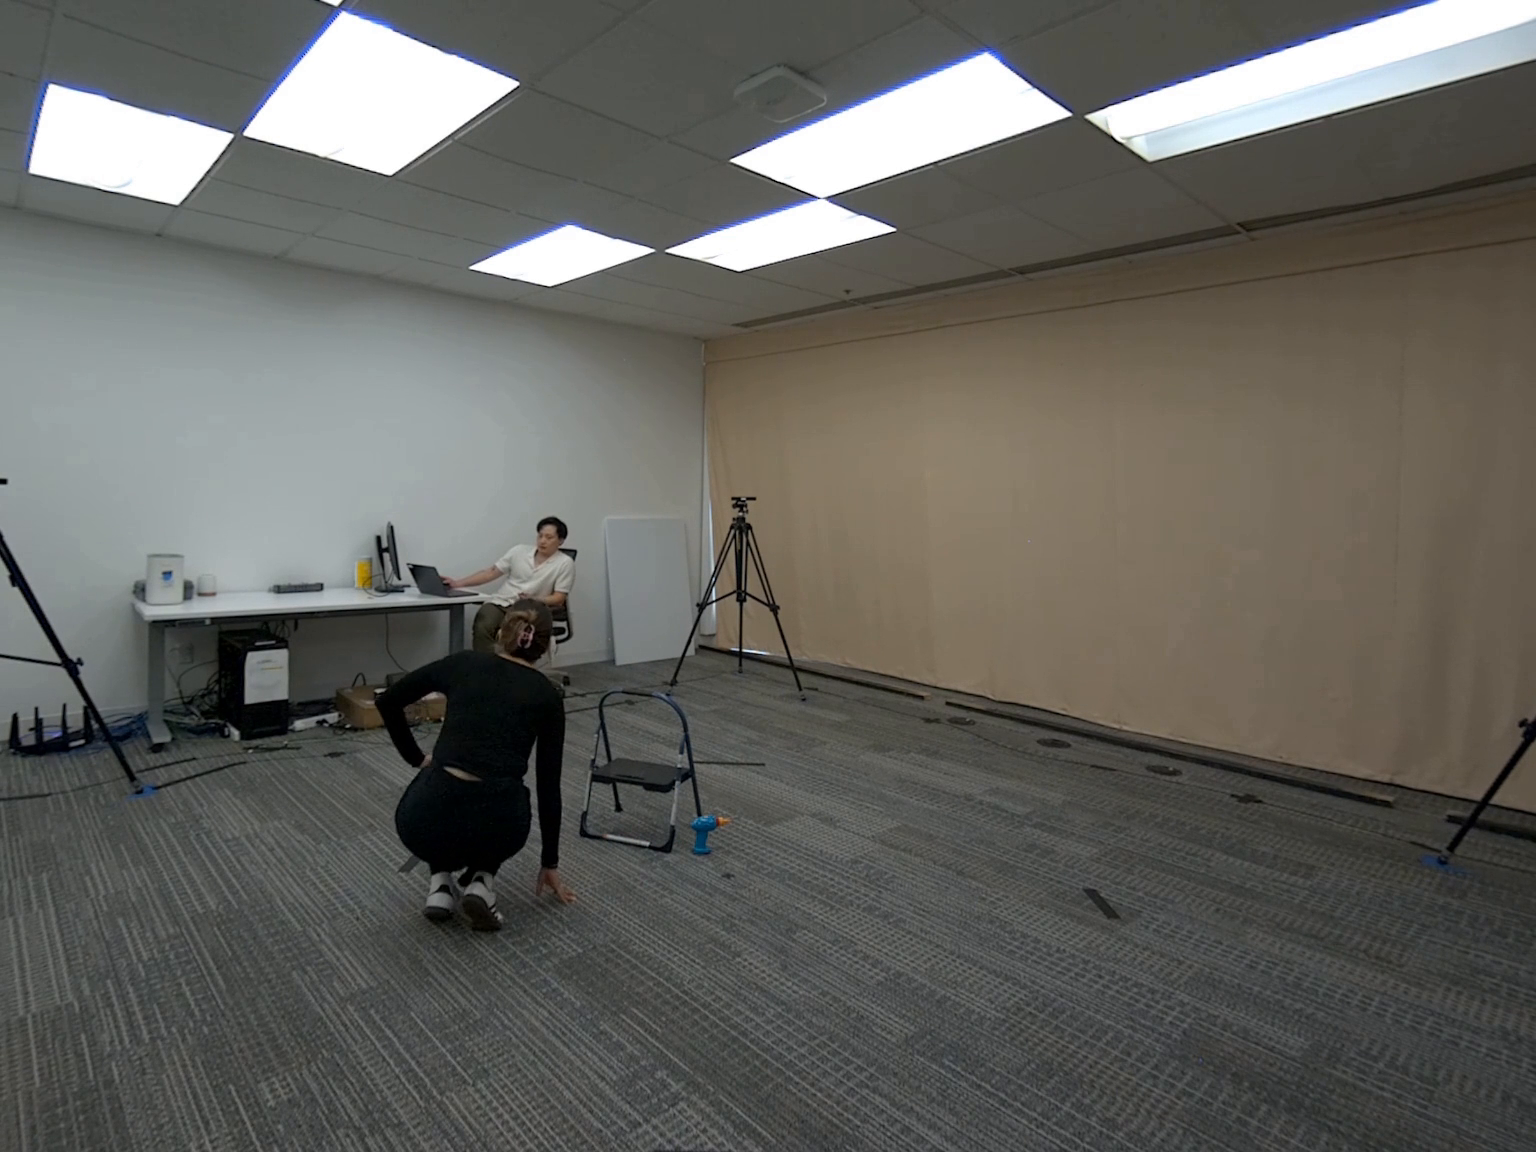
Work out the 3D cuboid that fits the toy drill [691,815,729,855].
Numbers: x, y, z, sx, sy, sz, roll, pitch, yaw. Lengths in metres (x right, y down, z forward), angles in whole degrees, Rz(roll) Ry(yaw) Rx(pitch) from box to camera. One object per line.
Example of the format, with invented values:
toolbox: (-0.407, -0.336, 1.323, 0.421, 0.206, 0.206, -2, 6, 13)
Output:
toy drill: (-0.235, 1.019, 3.309, 0.167, 0.146, 0.062, 2, 3, -23)
